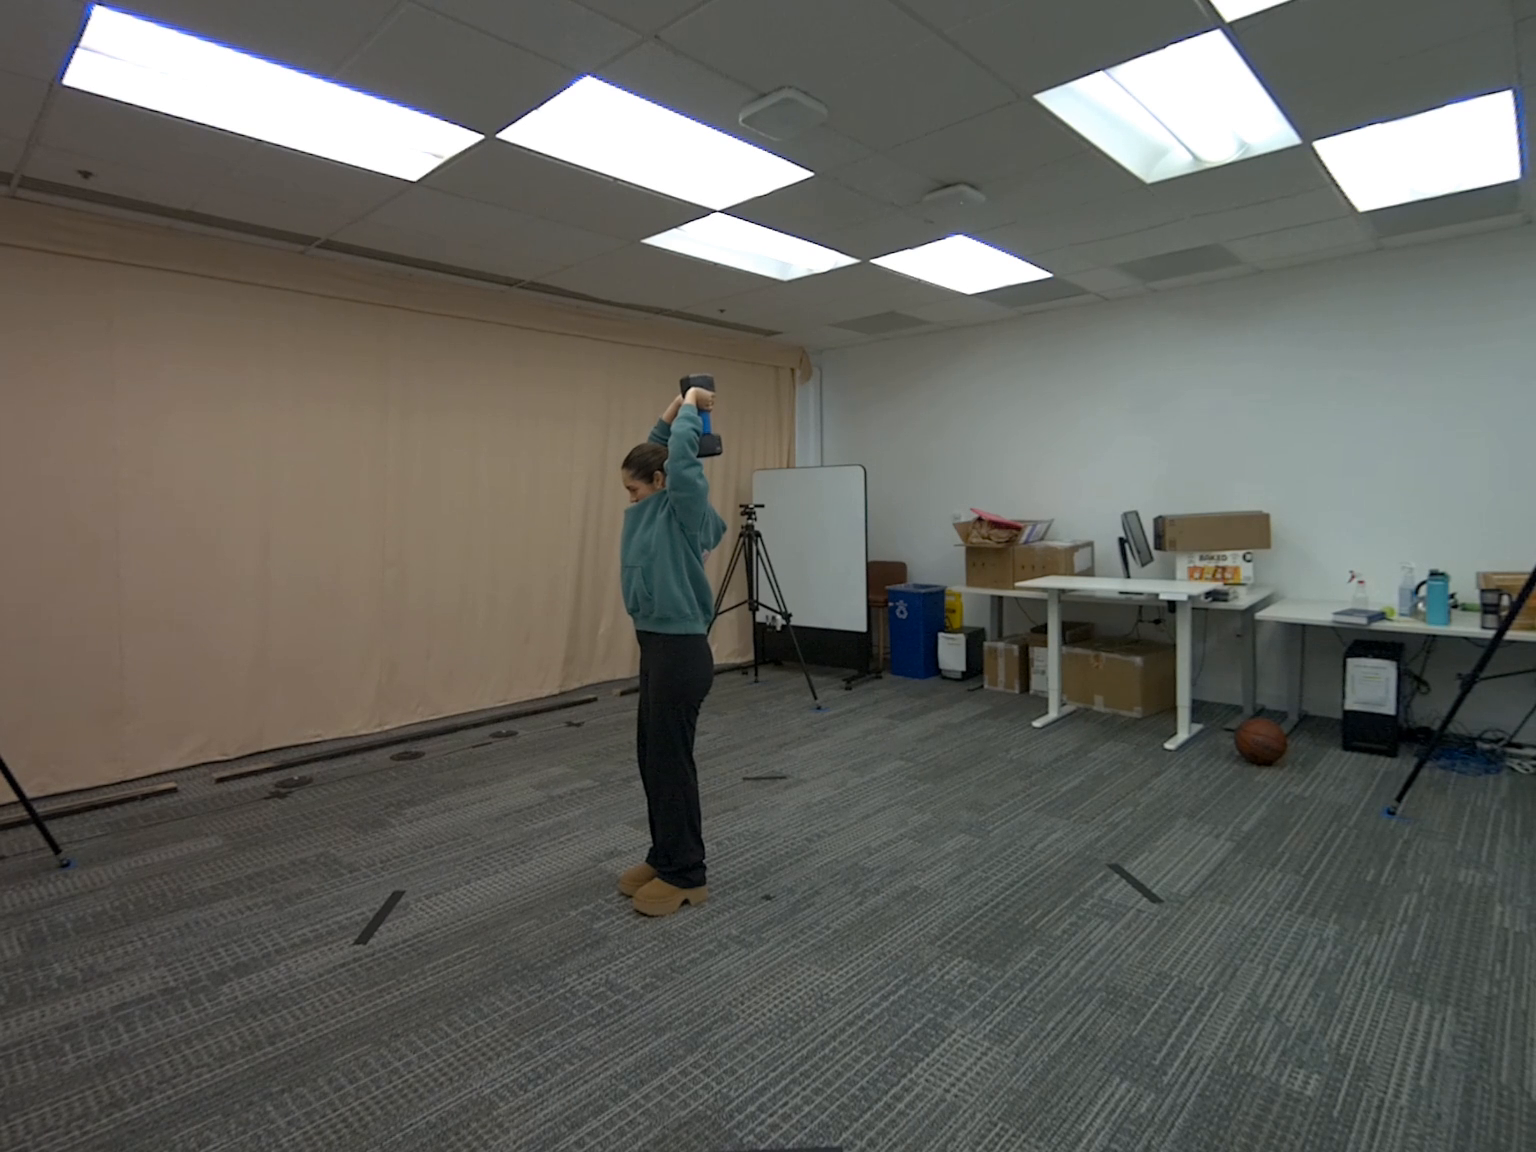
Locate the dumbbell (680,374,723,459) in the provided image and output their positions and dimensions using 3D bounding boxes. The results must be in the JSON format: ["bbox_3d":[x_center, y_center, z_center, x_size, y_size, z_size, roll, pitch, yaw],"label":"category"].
[{"bbox_3d":[-0.241,-0.569,2.994,0.121,0.293,0.110,-10,4,-13],"label":"dumbbell"}]
